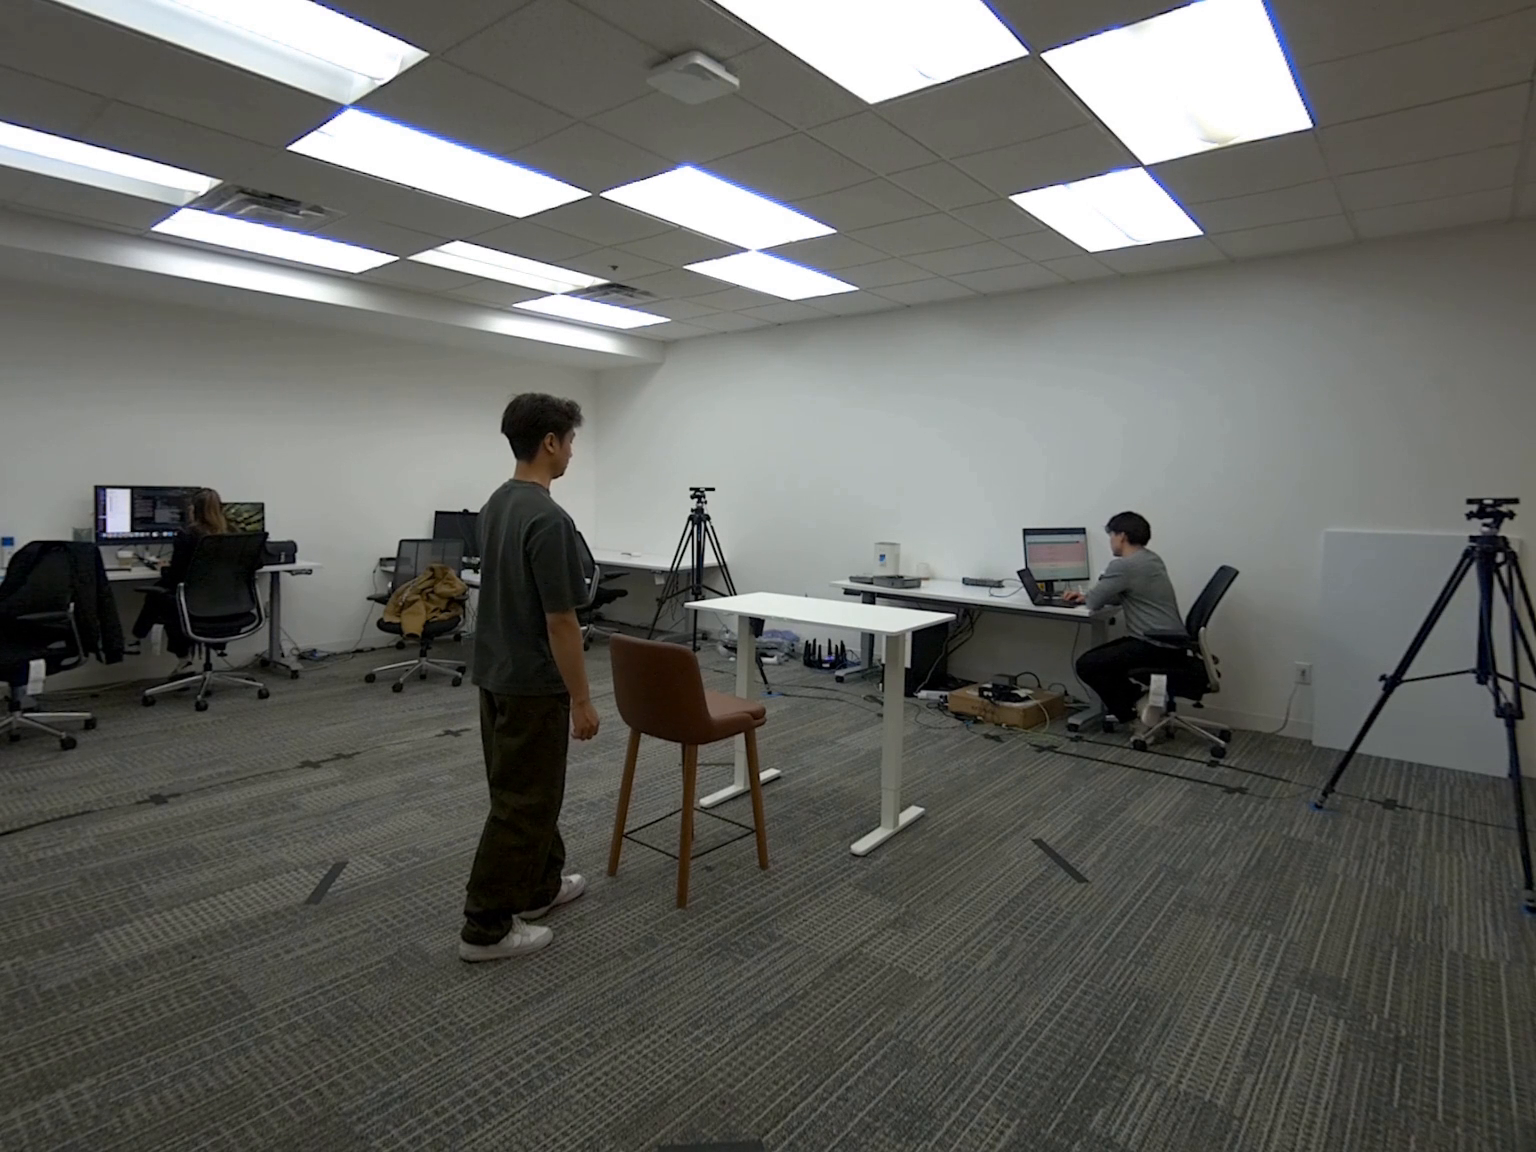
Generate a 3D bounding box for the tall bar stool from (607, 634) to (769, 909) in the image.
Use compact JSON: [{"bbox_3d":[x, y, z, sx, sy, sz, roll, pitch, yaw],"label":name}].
[{"bbox_3d":[-0.306,0.632,3.060,0.472,0.886,0.454,3,5,40],"label":"tall bar stool"}]
